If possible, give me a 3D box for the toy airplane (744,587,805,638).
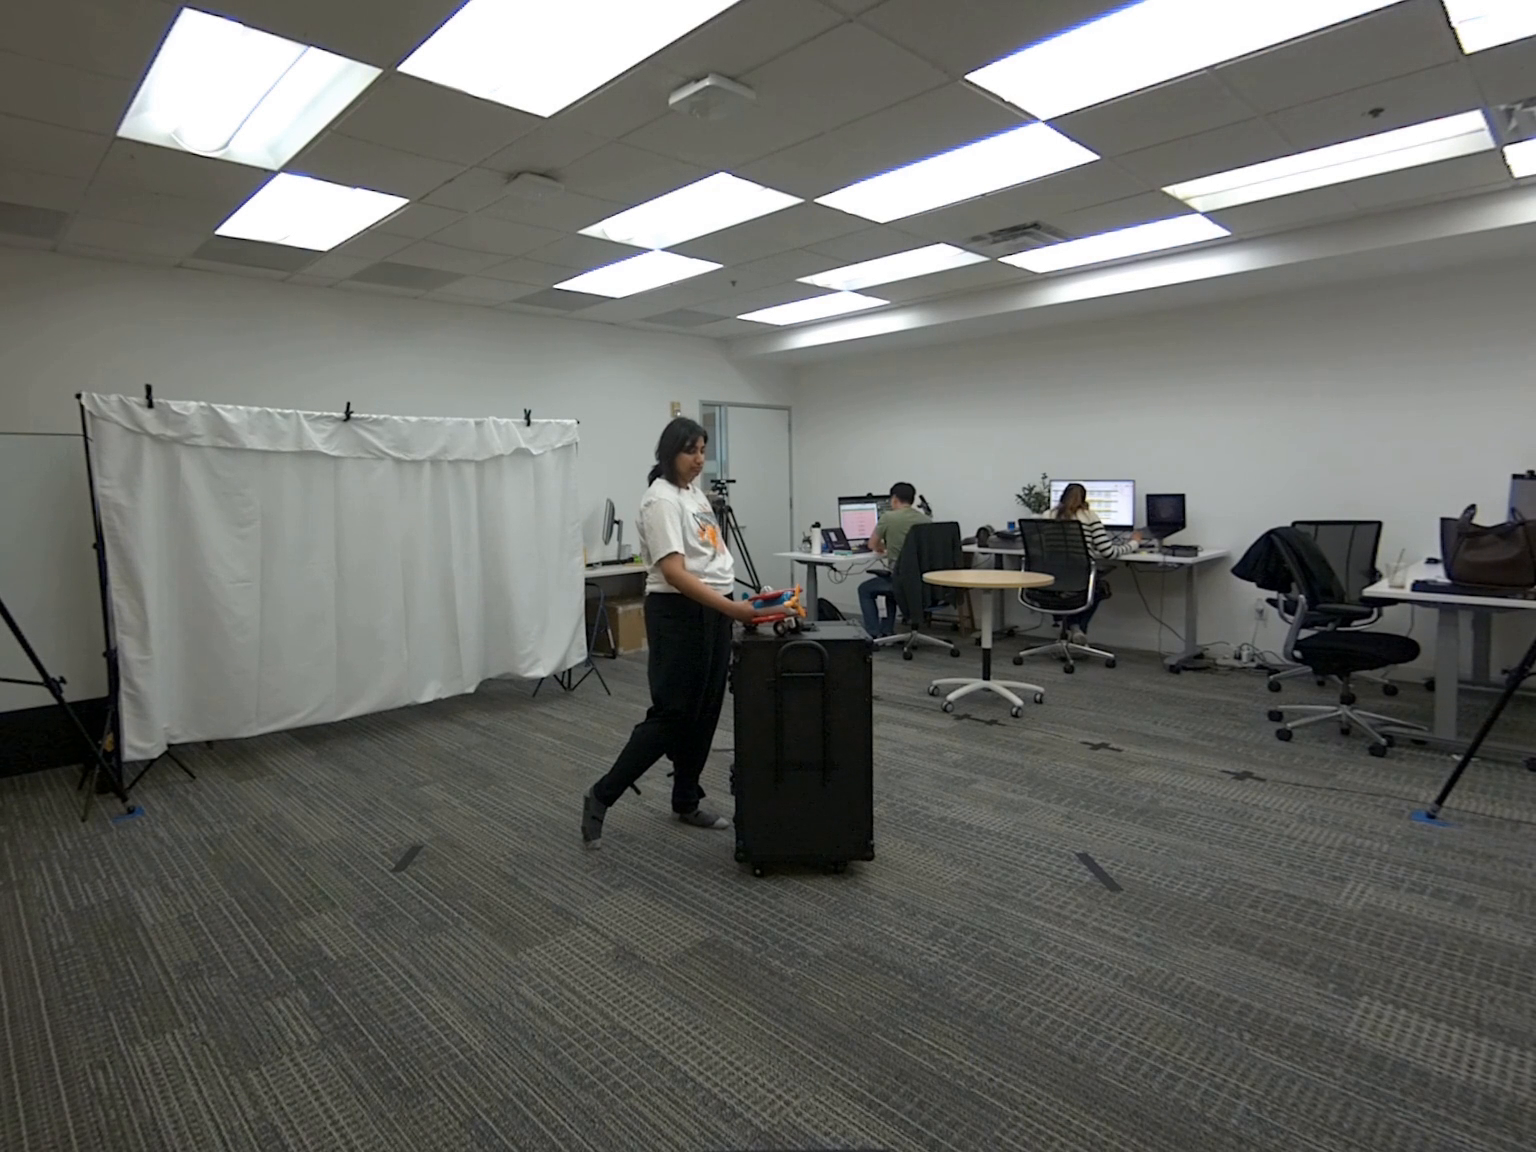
[{"bbox_3d":[0.006,0.119,3.065,0.263,0.156,0.249,2,6,12],"label":"toy airplane"}]
